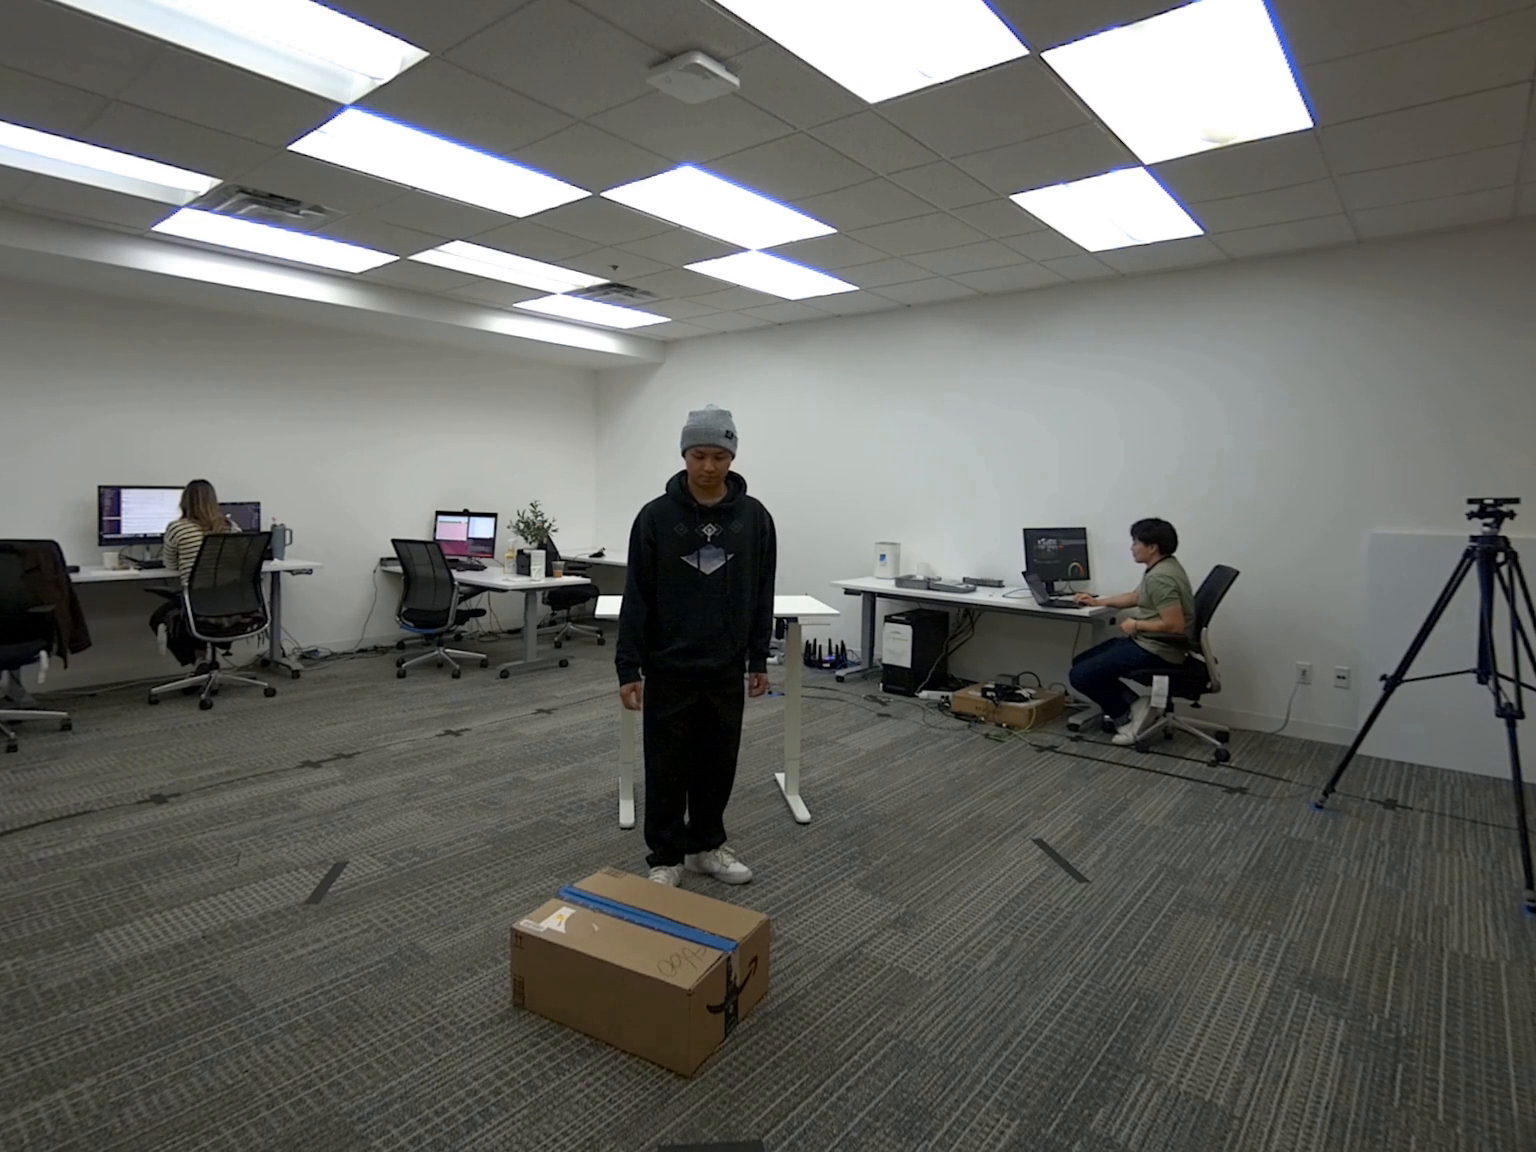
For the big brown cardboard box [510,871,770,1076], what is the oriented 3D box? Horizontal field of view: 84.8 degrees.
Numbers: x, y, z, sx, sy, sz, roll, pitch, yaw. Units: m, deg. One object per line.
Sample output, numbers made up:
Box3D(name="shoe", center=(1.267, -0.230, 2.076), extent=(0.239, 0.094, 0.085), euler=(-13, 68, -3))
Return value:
Box3D(name="big brown cardboard box", center=(-0.353, 1.032, 2.309), extent=(0.606, 0.232, 0.408), euler=(5, 6, 28))
